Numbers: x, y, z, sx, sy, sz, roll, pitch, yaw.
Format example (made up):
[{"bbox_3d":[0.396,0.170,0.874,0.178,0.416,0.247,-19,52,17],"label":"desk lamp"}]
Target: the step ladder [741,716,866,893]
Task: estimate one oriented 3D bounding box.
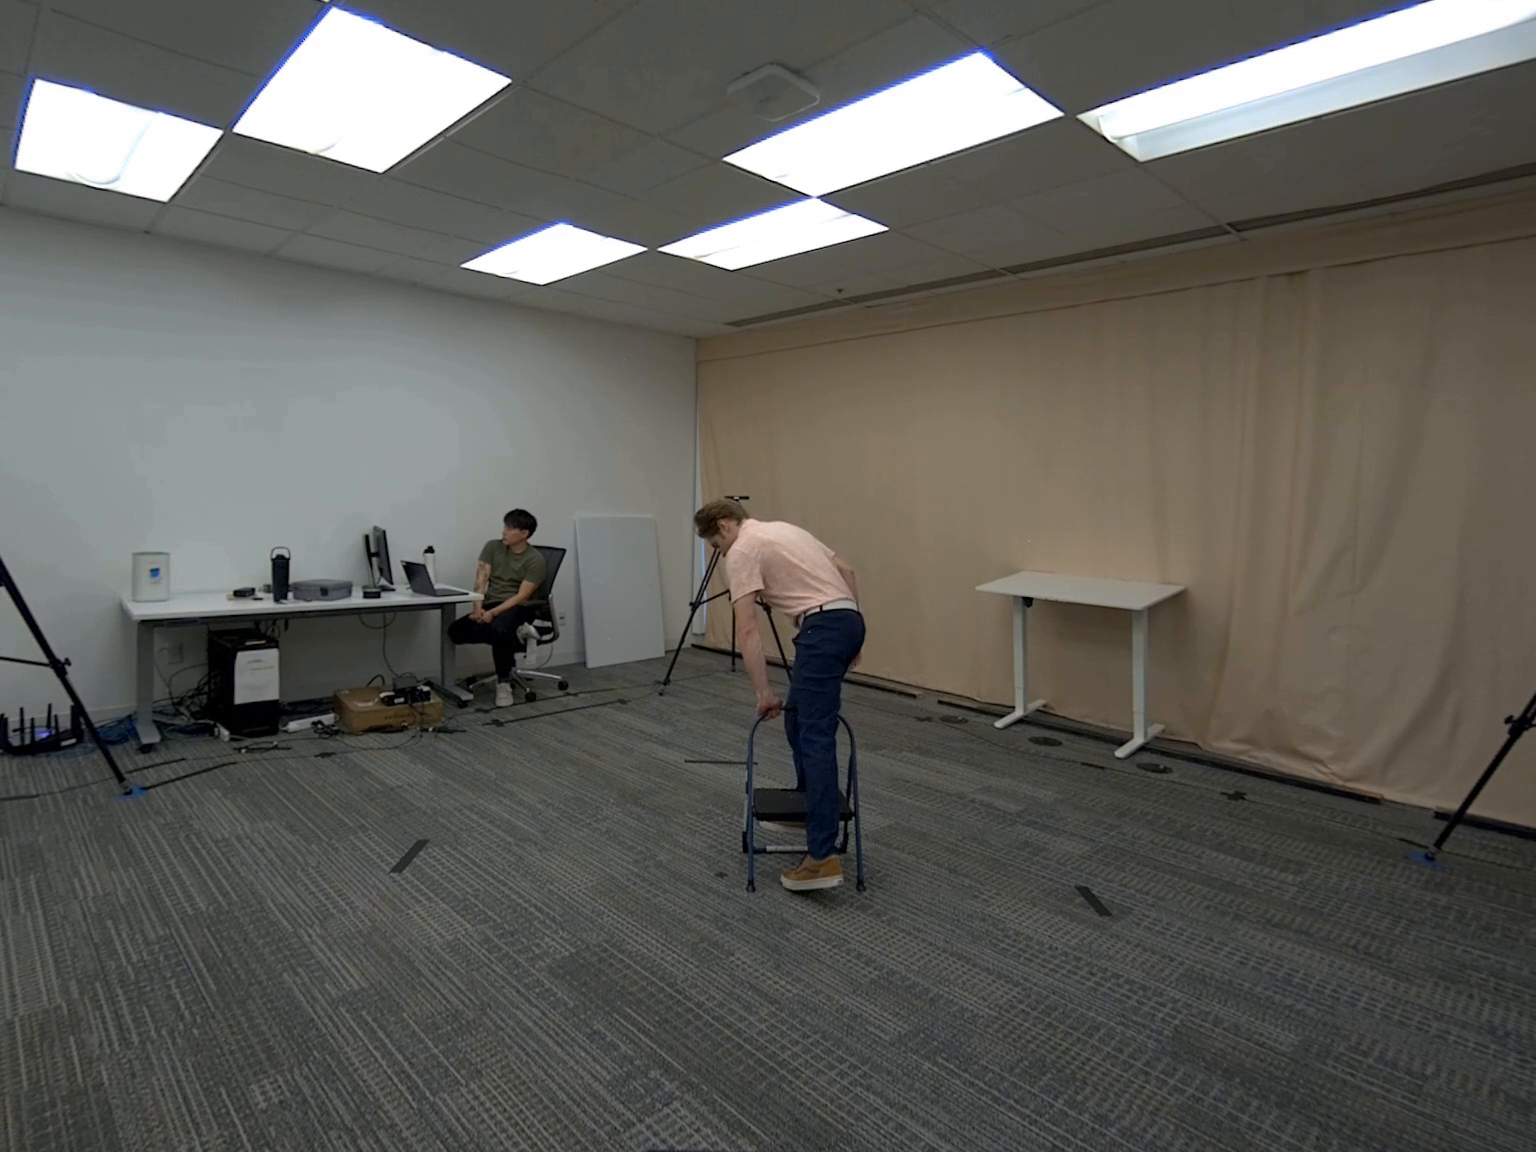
[{"bbox_3d":[0.121,0.808,3.149,0.429,0.604,0.351,2,4,-5],"label":"step ladder"}]
